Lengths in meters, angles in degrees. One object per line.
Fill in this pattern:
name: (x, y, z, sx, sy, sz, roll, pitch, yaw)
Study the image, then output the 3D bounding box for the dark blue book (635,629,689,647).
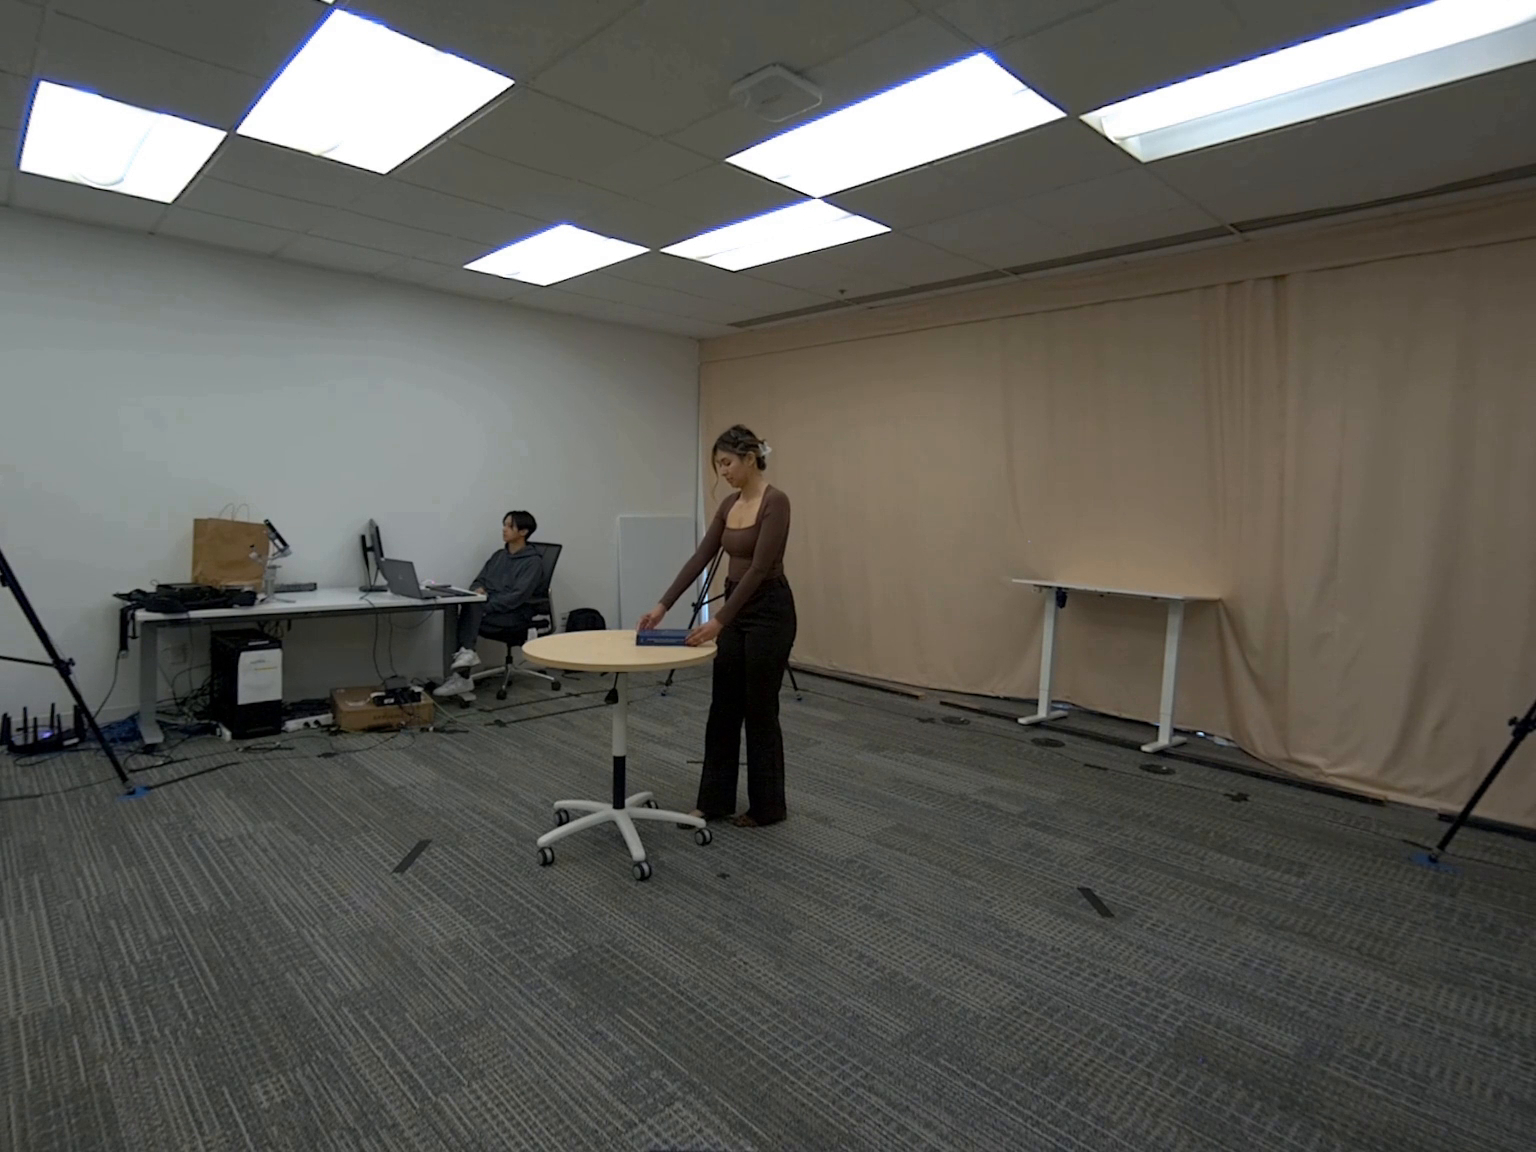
dark blue book: (-0.417, 0.256, 3.427, 0.244, 0.045, 0.164, 2, 5, -3)
